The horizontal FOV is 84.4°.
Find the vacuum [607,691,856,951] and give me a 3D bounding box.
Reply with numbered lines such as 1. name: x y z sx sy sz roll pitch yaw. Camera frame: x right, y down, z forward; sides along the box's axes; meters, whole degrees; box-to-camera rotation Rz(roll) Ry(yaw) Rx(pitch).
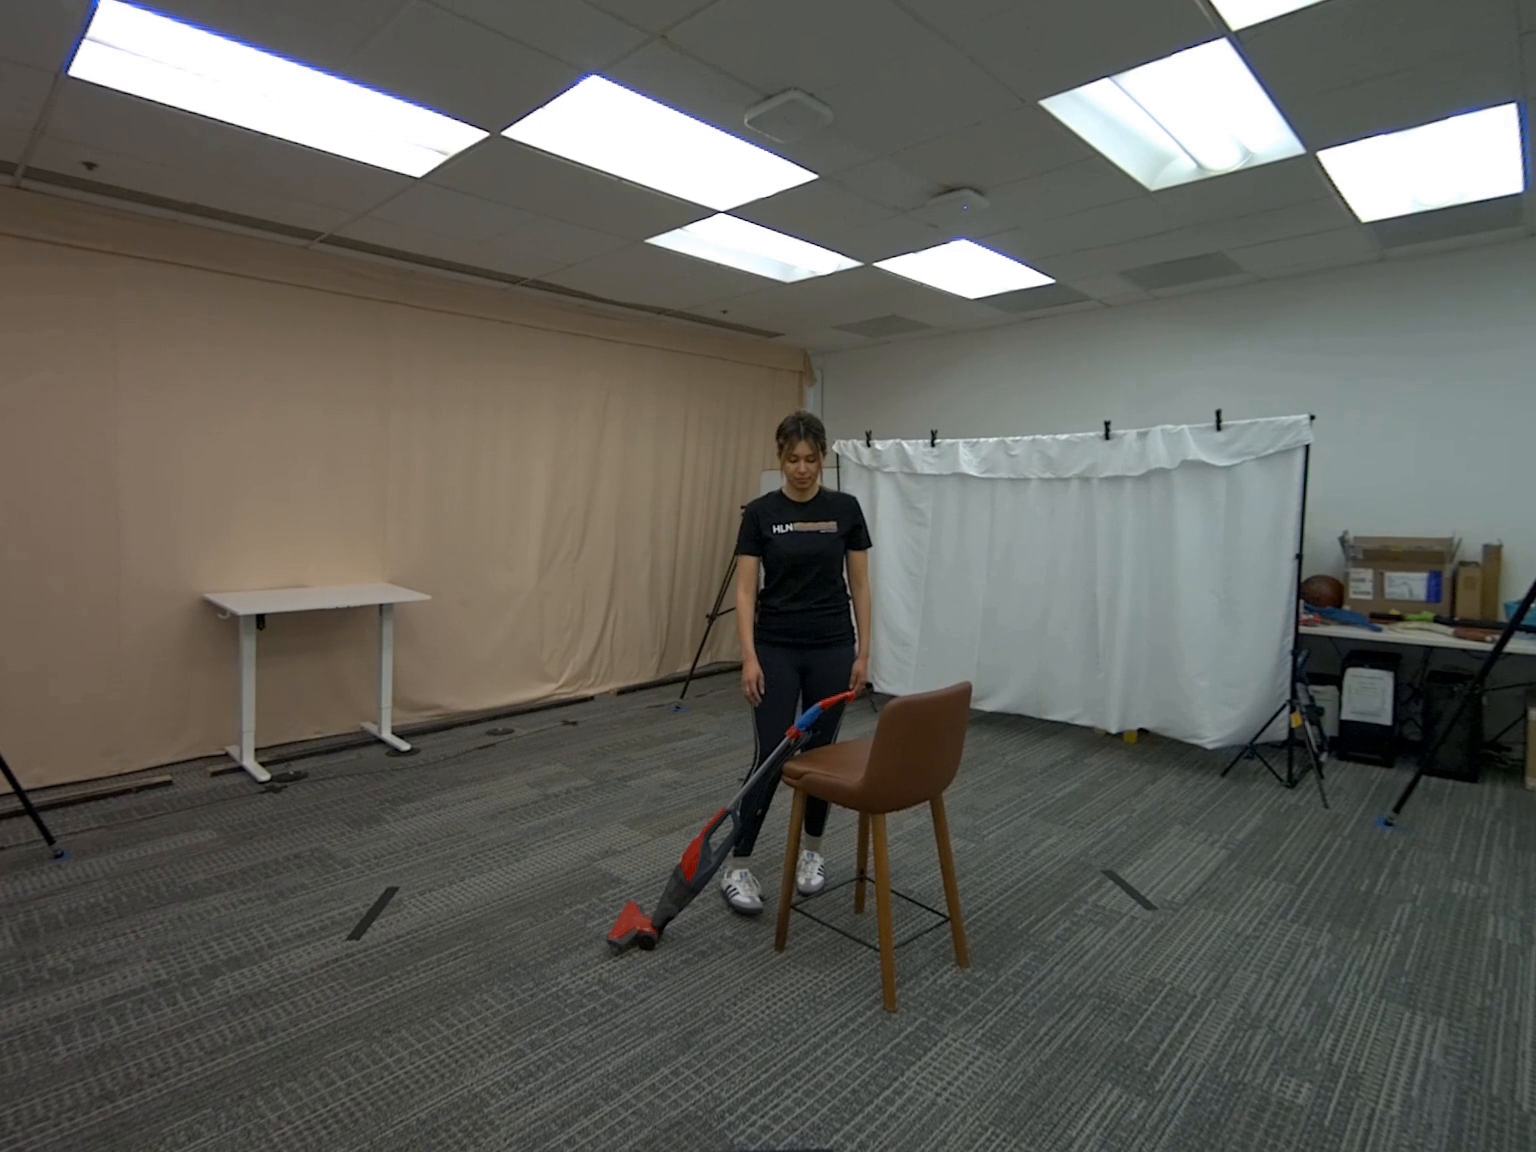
1. vacuum: -0.097 0.764 2.633 0.144 1.051 0.251 41 9 1
